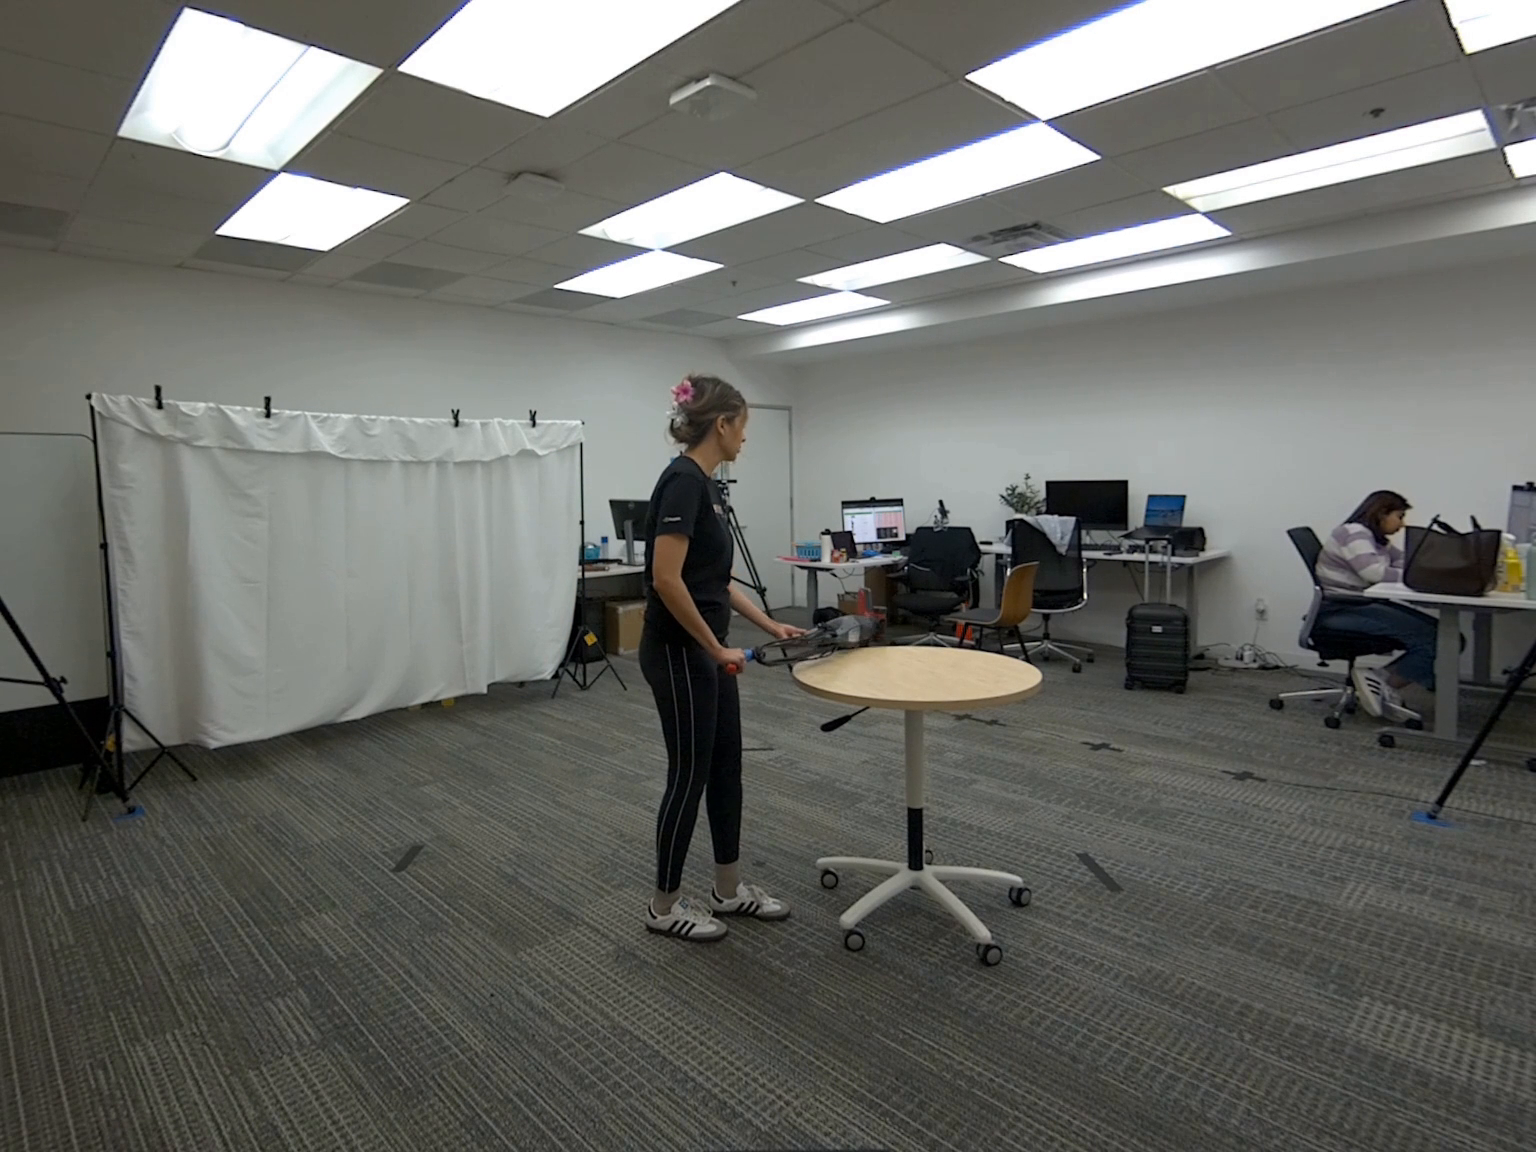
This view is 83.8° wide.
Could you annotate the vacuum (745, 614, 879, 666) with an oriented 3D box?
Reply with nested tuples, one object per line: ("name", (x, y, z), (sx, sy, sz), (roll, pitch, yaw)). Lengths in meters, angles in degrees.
("vacuum", (0.163, 0.228, 2.860), (0.148, 0.251, 1.027), (2, 6, 28))
